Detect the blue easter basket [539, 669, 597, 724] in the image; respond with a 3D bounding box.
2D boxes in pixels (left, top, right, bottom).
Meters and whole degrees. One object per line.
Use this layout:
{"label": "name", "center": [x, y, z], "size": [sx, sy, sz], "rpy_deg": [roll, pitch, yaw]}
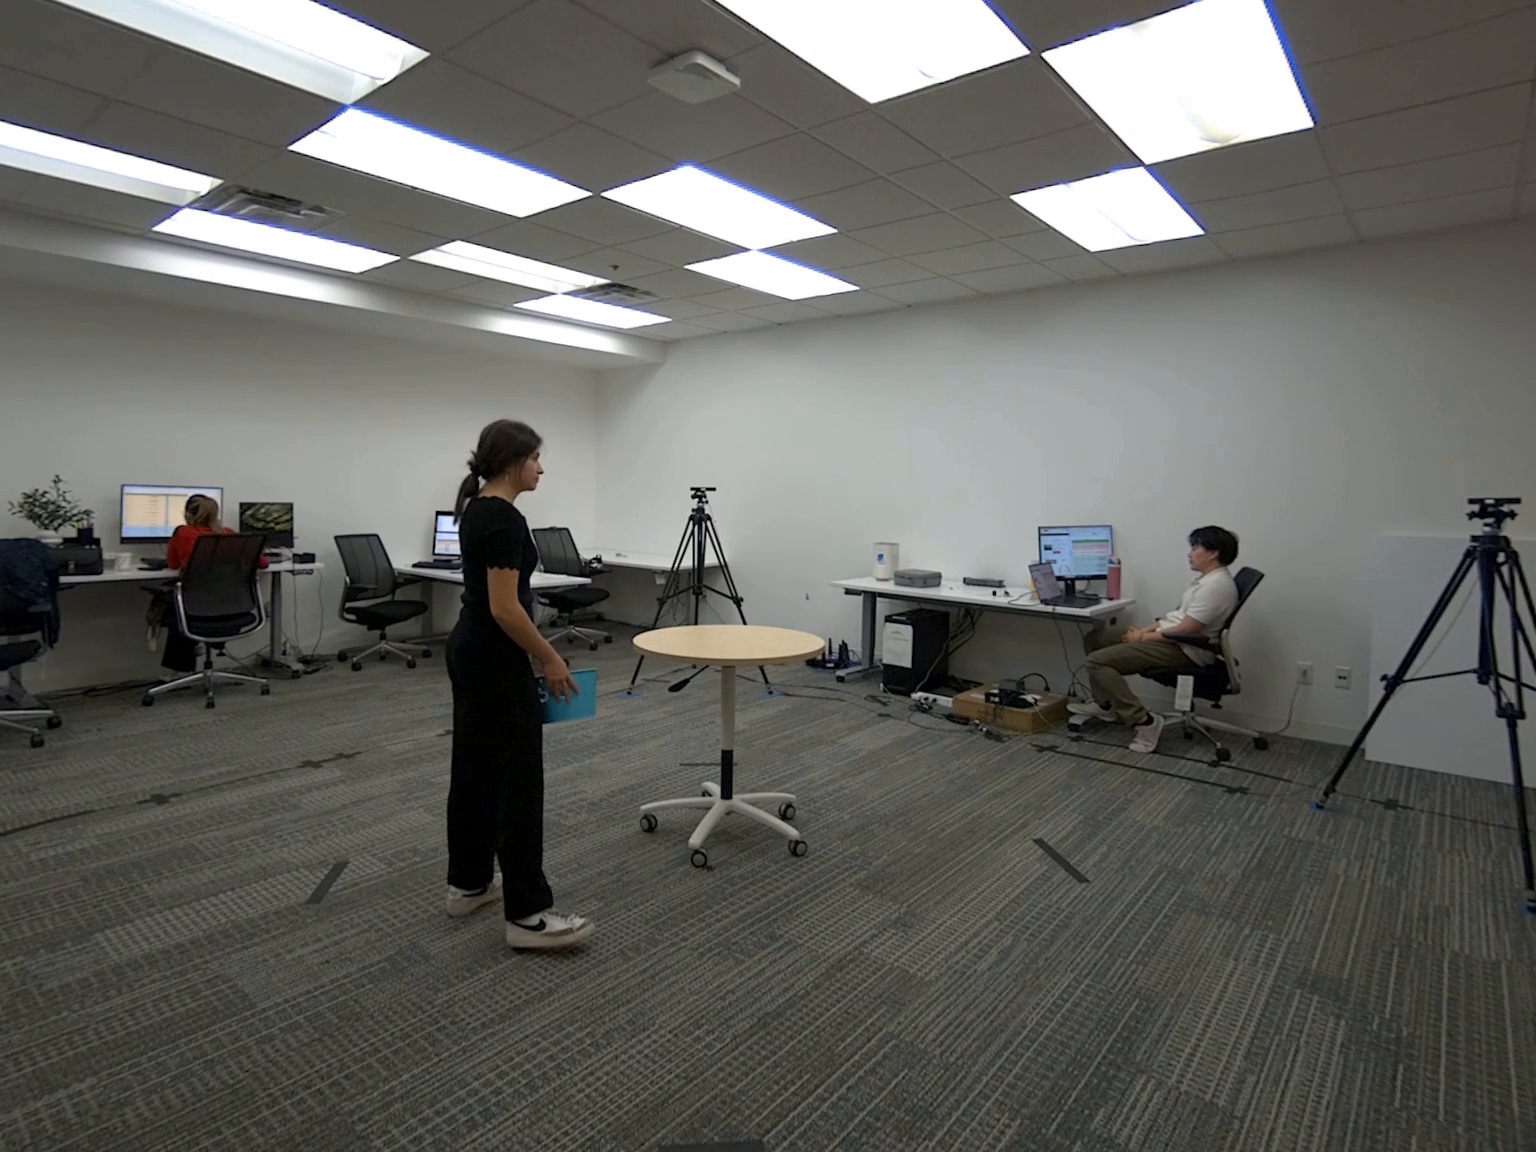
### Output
{"label": "blue easter basket", "center": [-0.696, 0.407, 2.793], "size": [0.243, 0.158, 0.241], "rpy_deg": [-7, -9, -3]}
